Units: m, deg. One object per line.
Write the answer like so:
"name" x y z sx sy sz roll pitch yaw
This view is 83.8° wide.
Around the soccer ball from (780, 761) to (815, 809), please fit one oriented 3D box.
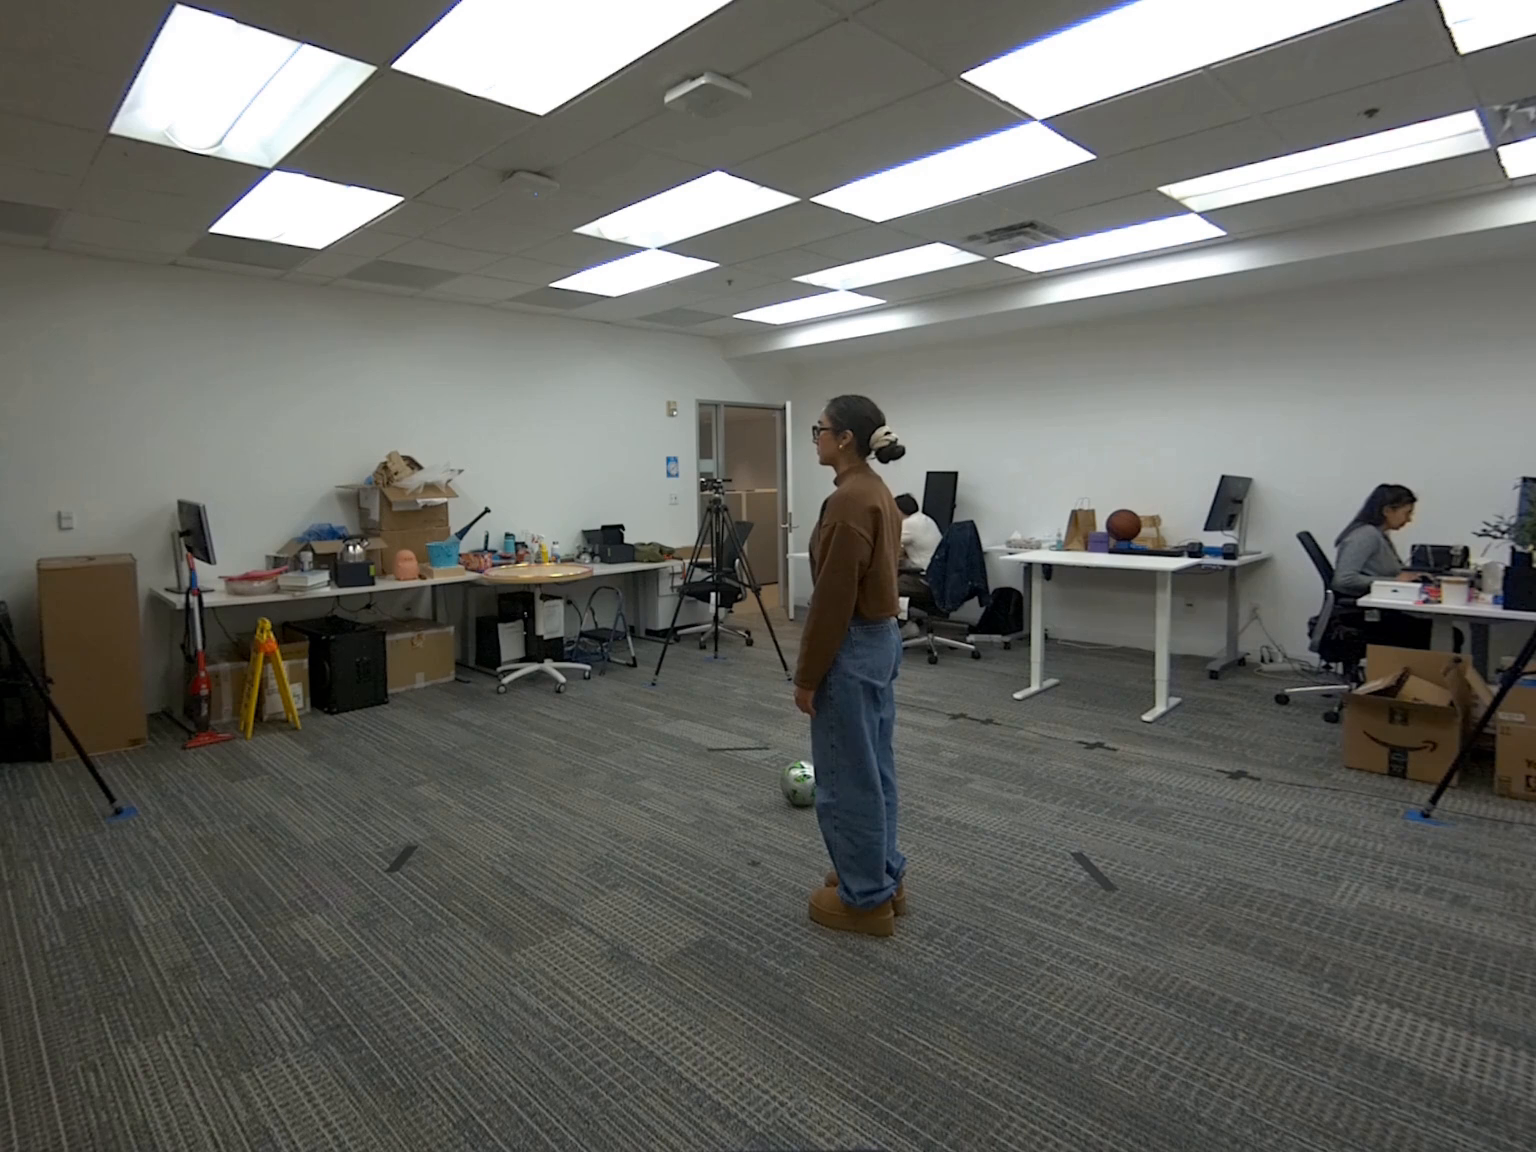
"soccer ball" 0.146 0.887 3.658 0.187 0.187 0.188 -1 5 -2
